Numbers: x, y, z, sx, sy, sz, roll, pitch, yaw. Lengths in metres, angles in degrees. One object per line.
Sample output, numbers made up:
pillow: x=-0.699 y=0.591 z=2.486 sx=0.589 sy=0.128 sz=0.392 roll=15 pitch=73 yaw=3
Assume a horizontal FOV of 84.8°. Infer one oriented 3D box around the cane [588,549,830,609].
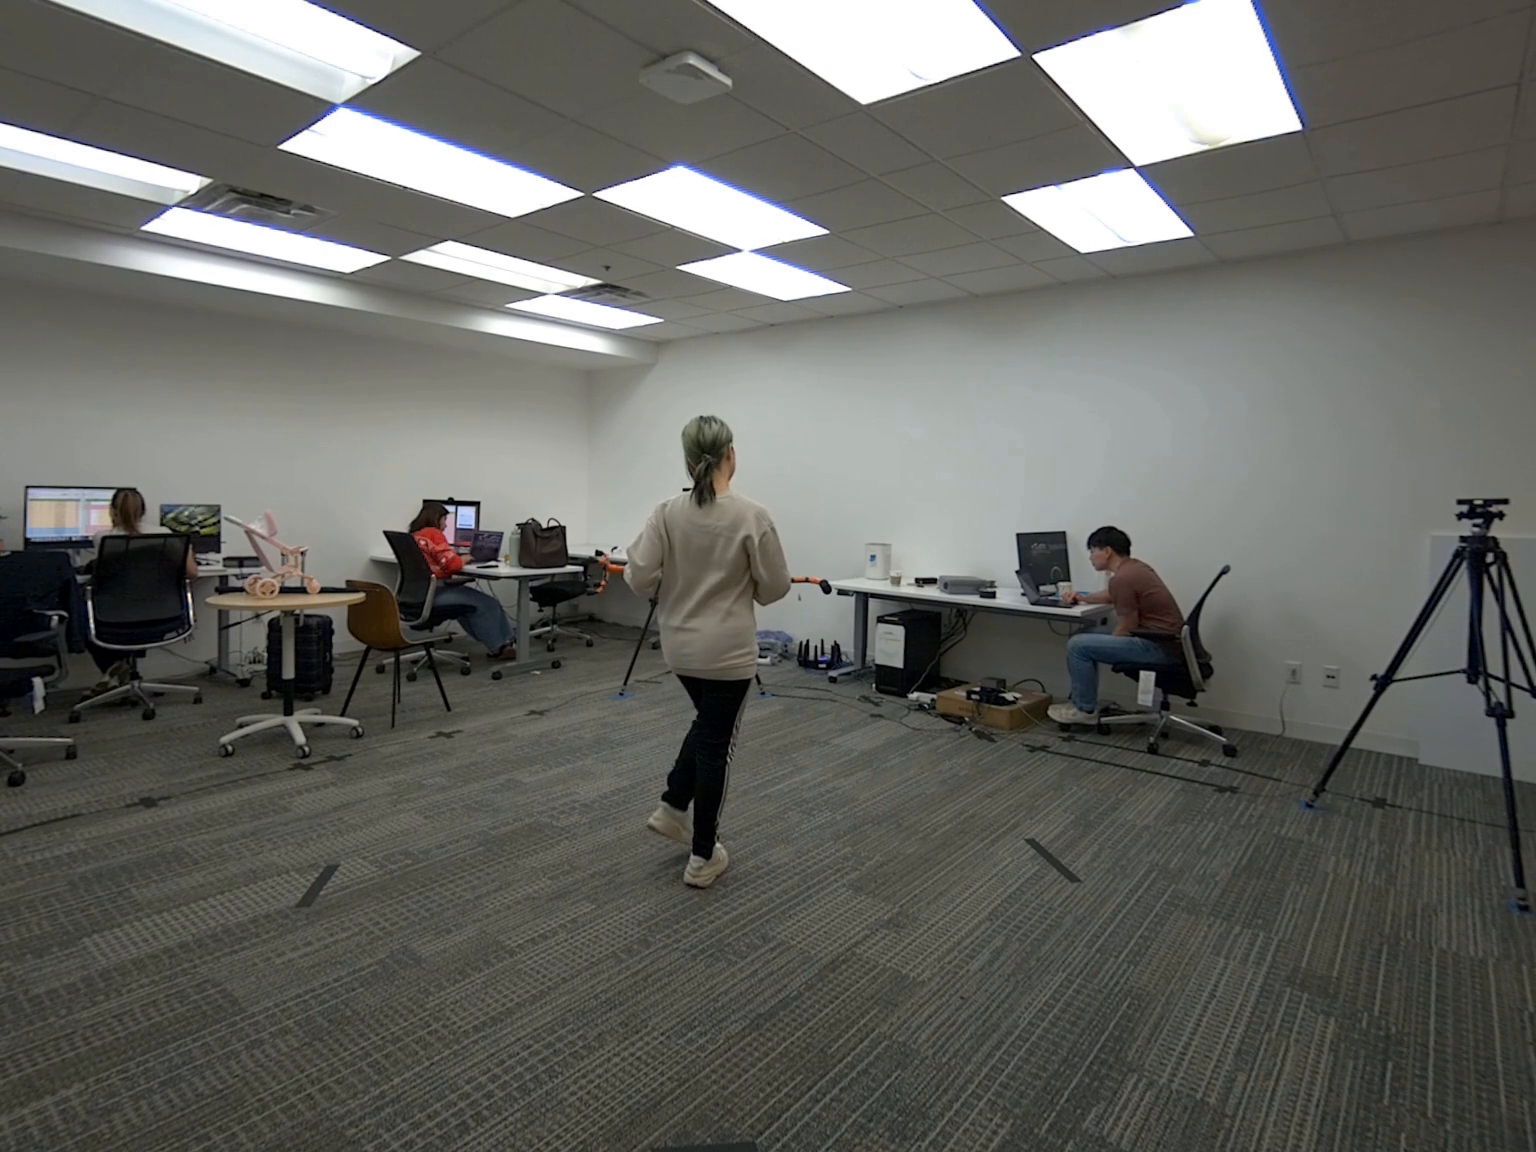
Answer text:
cane: x=-0.234 y=0.007 z=3.288 sx=0.905 sy=0.150 sz=0.208 roll=3 pitch=8 yaw=-3
